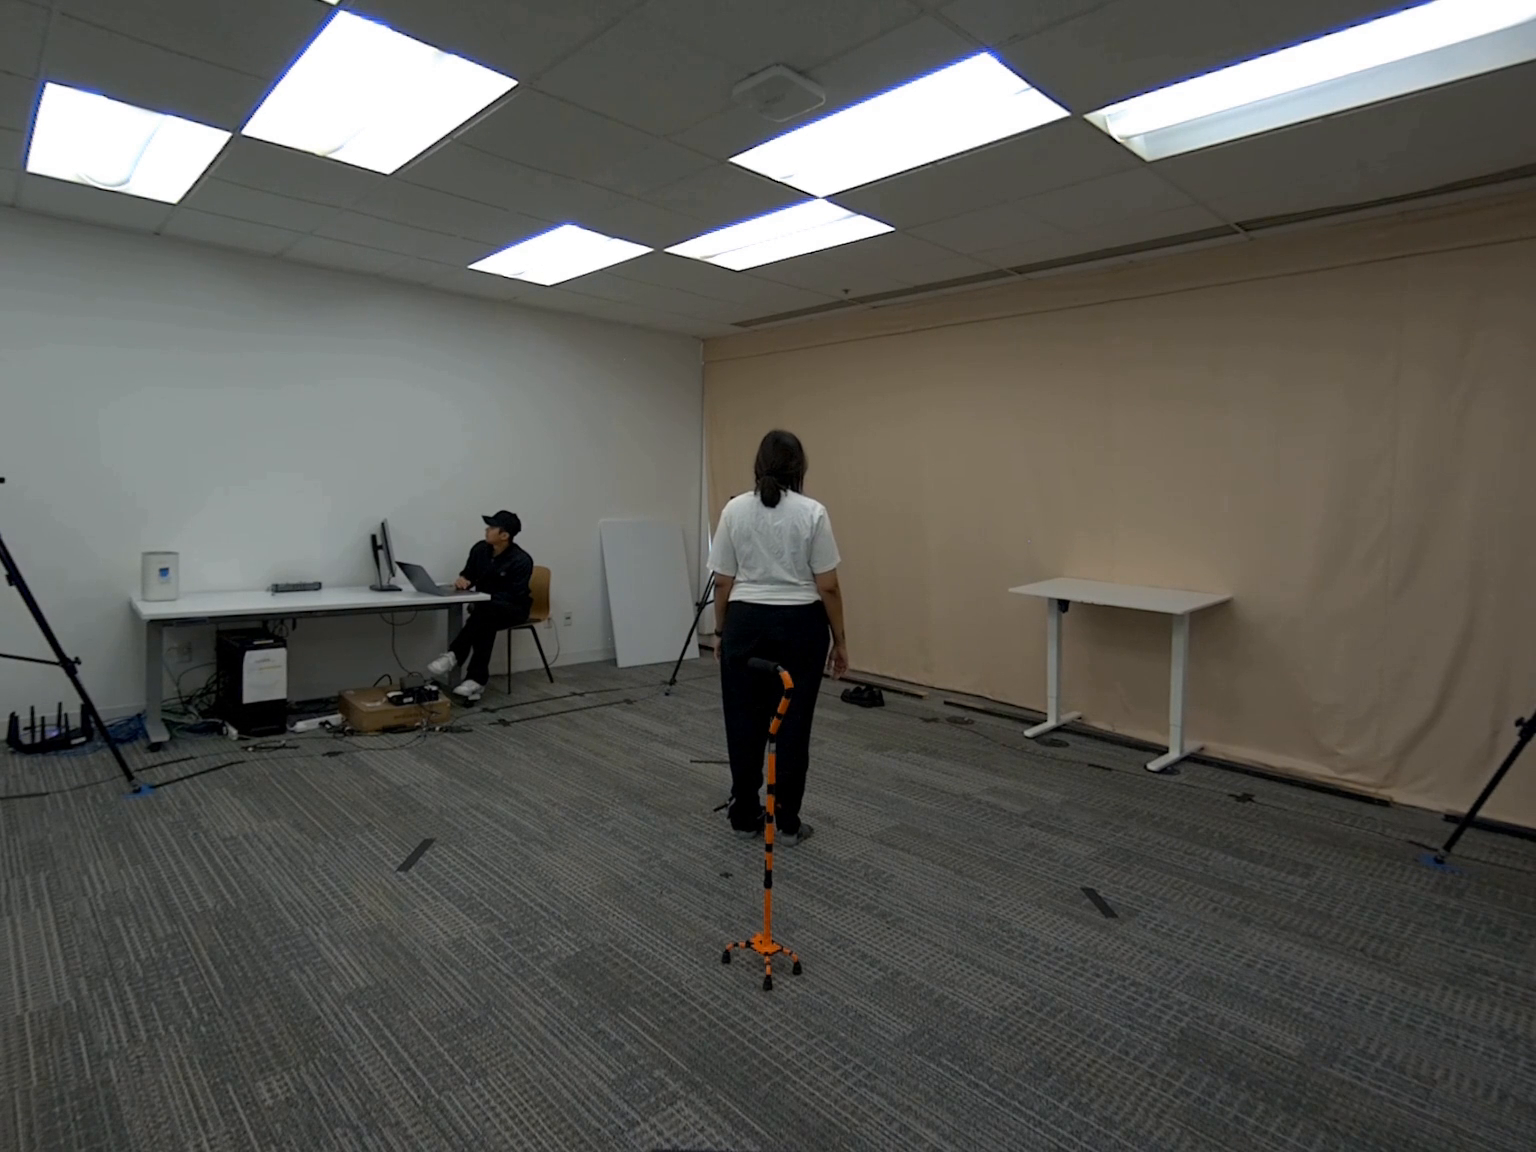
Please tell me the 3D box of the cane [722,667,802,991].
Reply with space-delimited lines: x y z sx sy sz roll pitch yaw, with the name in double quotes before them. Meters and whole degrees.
"cane" -0.011 0.716 2.464 0.148 0.905 0.212 -1 5 -44
